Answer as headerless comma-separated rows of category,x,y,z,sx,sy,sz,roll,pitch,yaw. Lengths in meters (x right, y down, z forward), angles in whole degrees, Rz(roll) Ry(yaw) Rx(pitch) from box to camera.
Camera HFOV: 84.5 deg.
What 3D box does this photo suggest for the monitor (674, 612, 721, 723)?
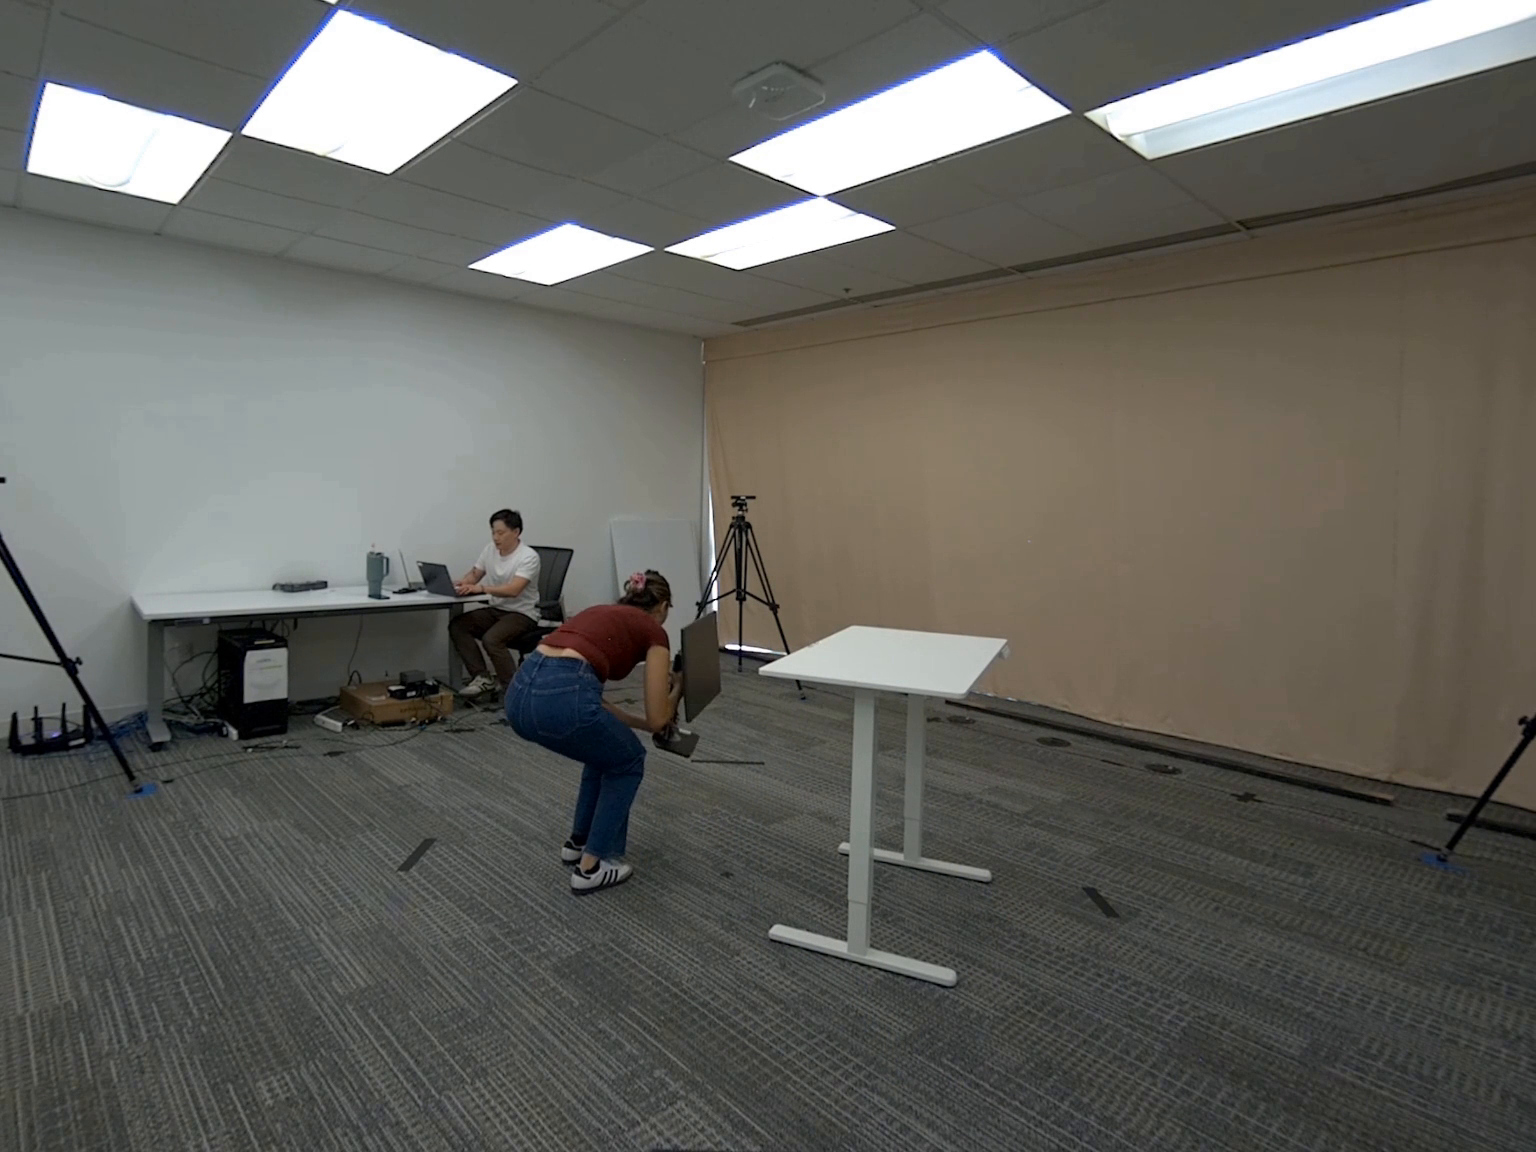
monitor,-0.323,0.421,3.384,0.189,0.521,0.536,14,6,8
